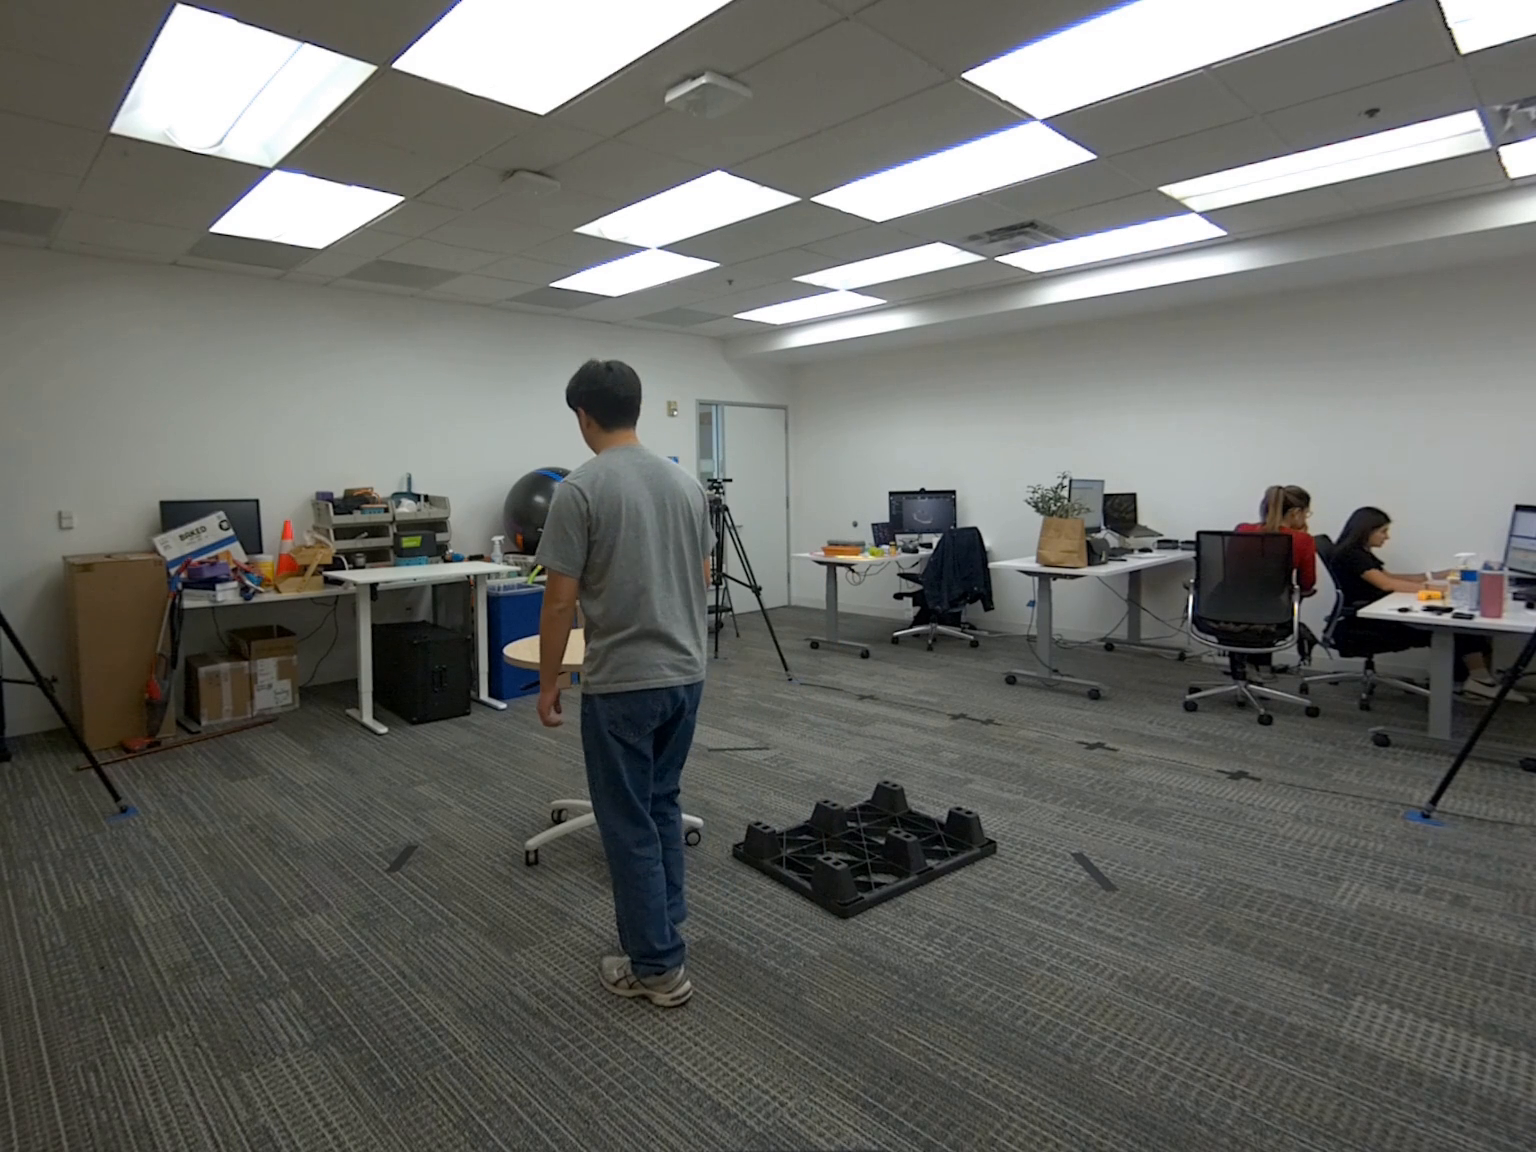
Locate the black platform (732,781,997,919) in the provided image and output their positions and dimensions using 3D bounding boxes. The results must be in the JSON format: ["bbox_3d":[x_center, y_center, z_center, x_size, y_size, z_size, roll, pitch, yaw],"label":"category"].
[{"bbox_3d":[0.360,0.966,3.171,0.785,0.142,0.624,-6,8,-38],"label":"black platform"}]
